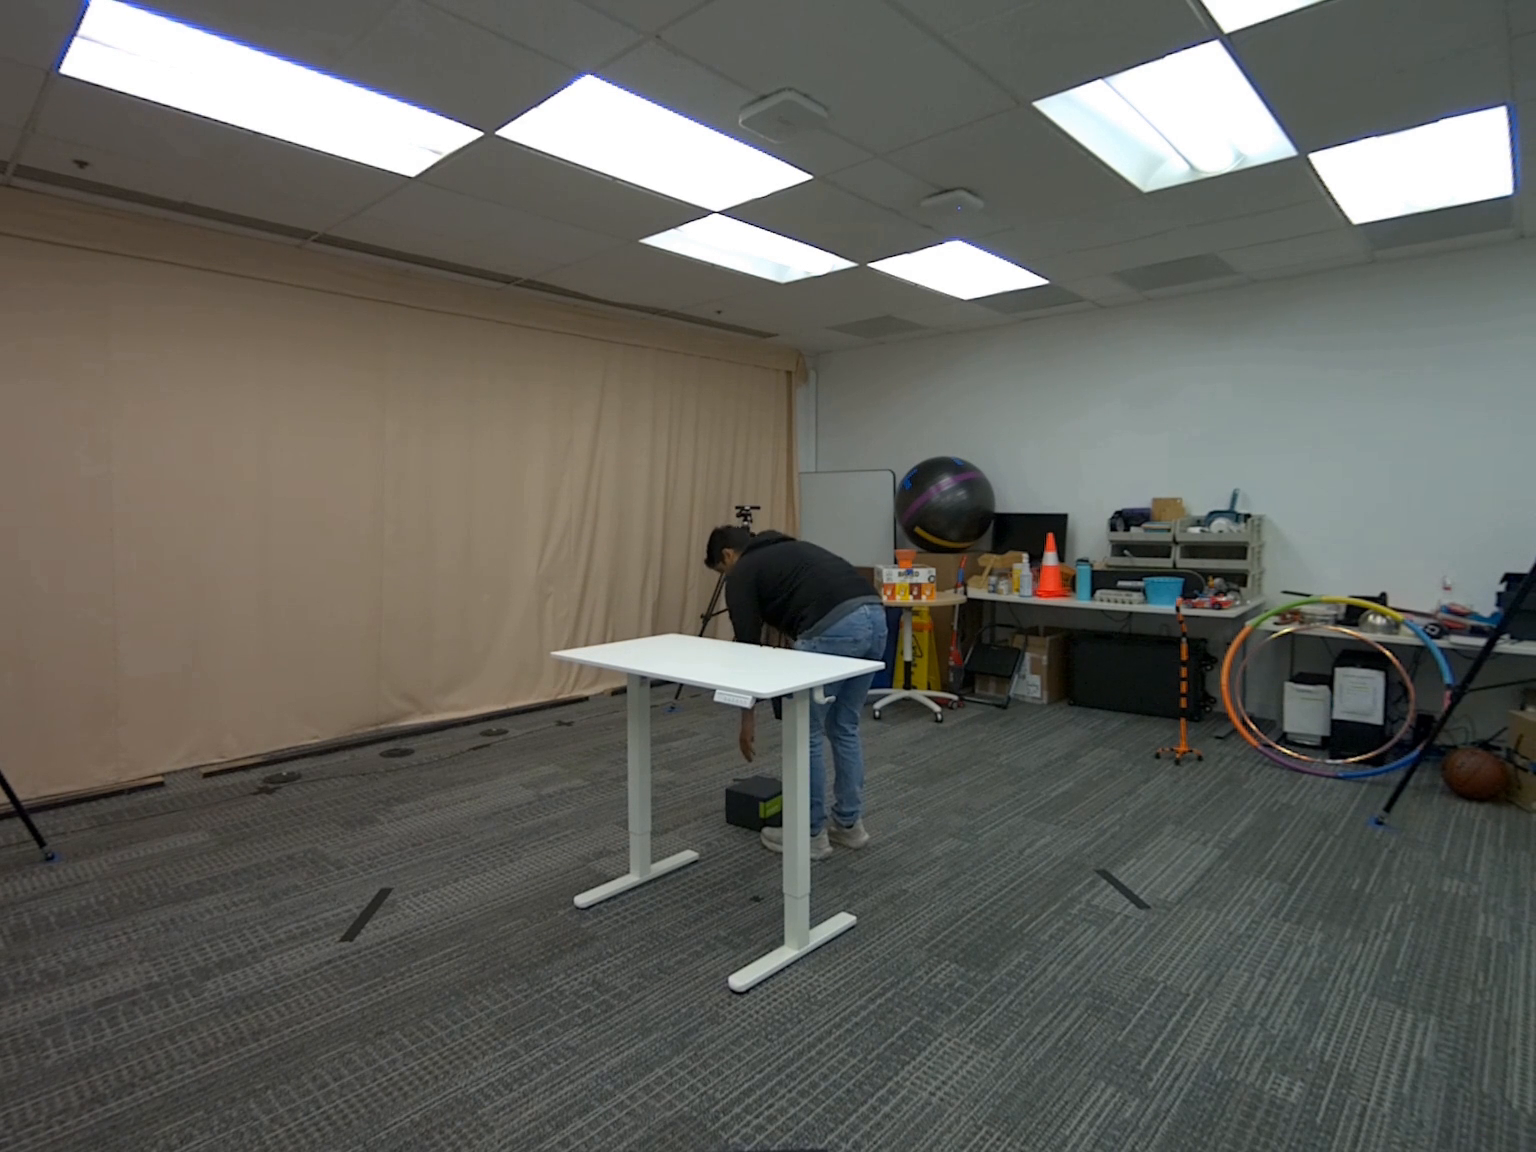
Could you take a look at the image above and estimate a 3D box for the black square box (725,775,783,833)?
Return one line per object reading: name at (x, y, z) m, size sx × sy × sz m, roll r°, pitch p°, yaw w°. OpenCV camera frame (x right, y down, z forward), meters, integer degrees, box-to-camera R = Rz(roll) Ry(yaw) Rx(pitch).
black square box at (-0.034, 1.003, 3.715) m, size 0.224 × 0.155 × 0.221 m, roll 3°, pitch 5°, yaw 37°
